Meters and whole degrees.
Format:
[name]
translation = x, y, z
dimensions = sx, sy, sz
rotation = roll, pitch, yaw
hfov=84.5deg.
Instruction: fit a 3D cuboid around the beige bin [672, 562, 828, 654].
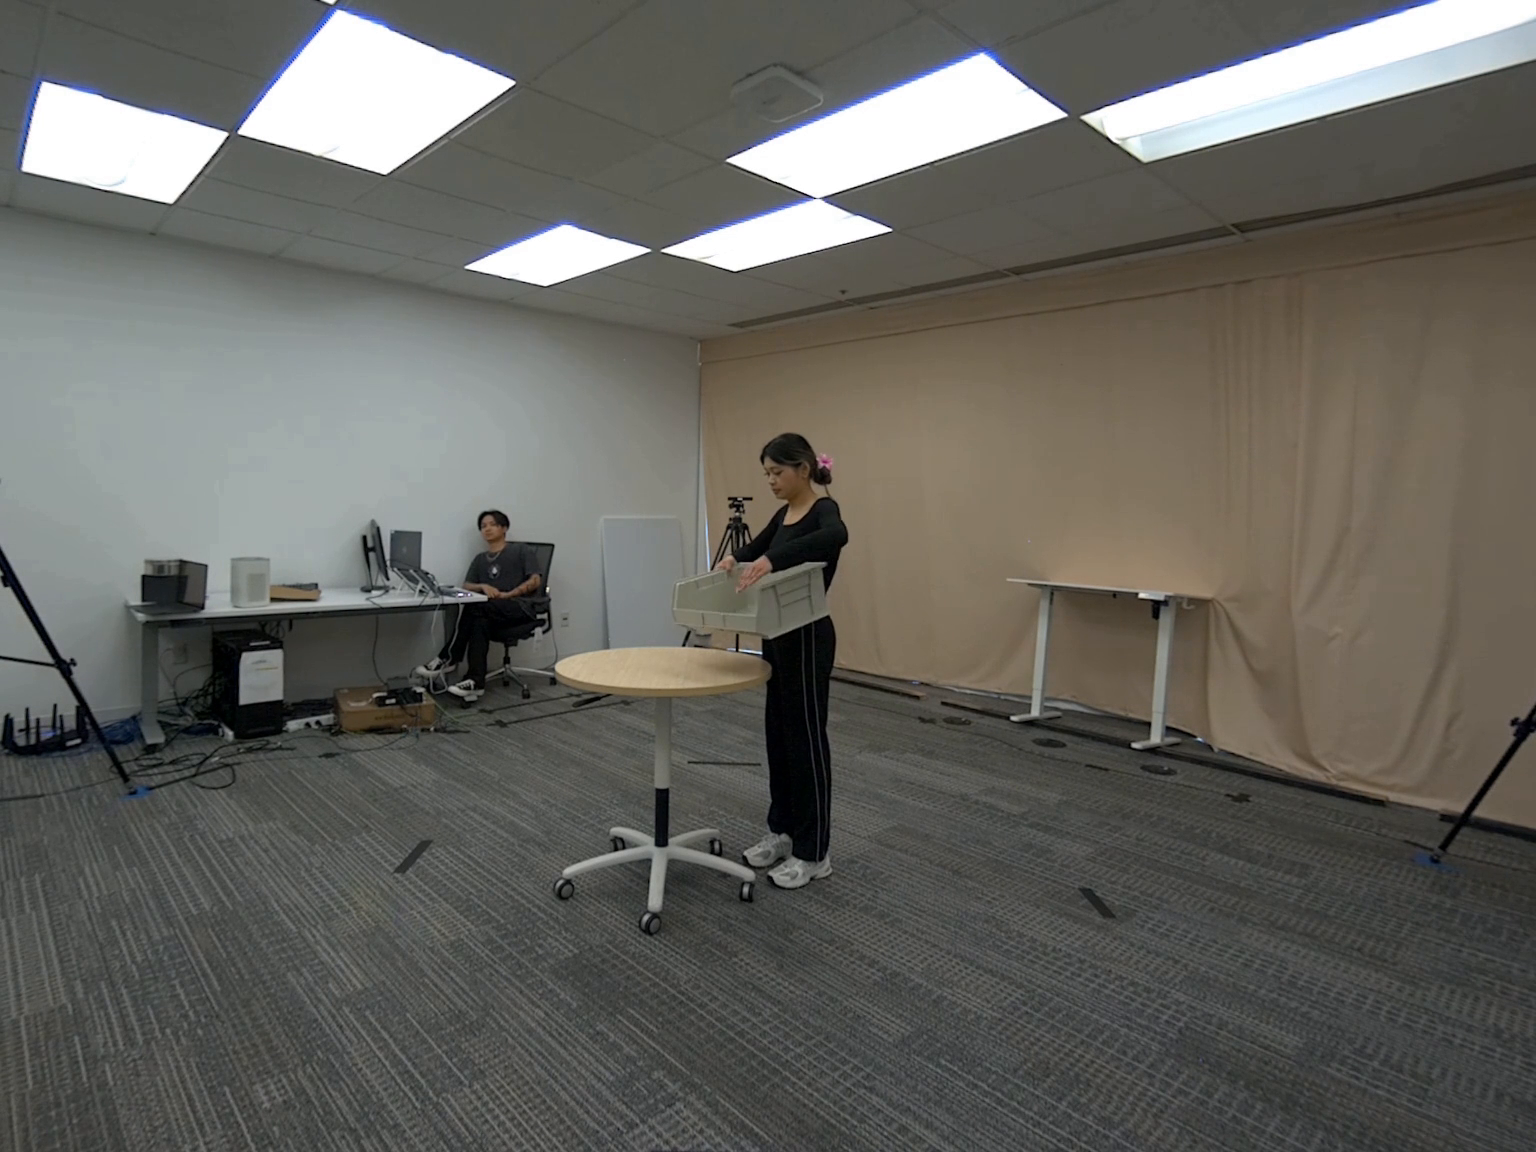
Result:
[beige bin]
translation = -0.073, 0.084, 2.909
dimensions = 0.432, 0.188, 0.371
rotation = 0, 12, 44
